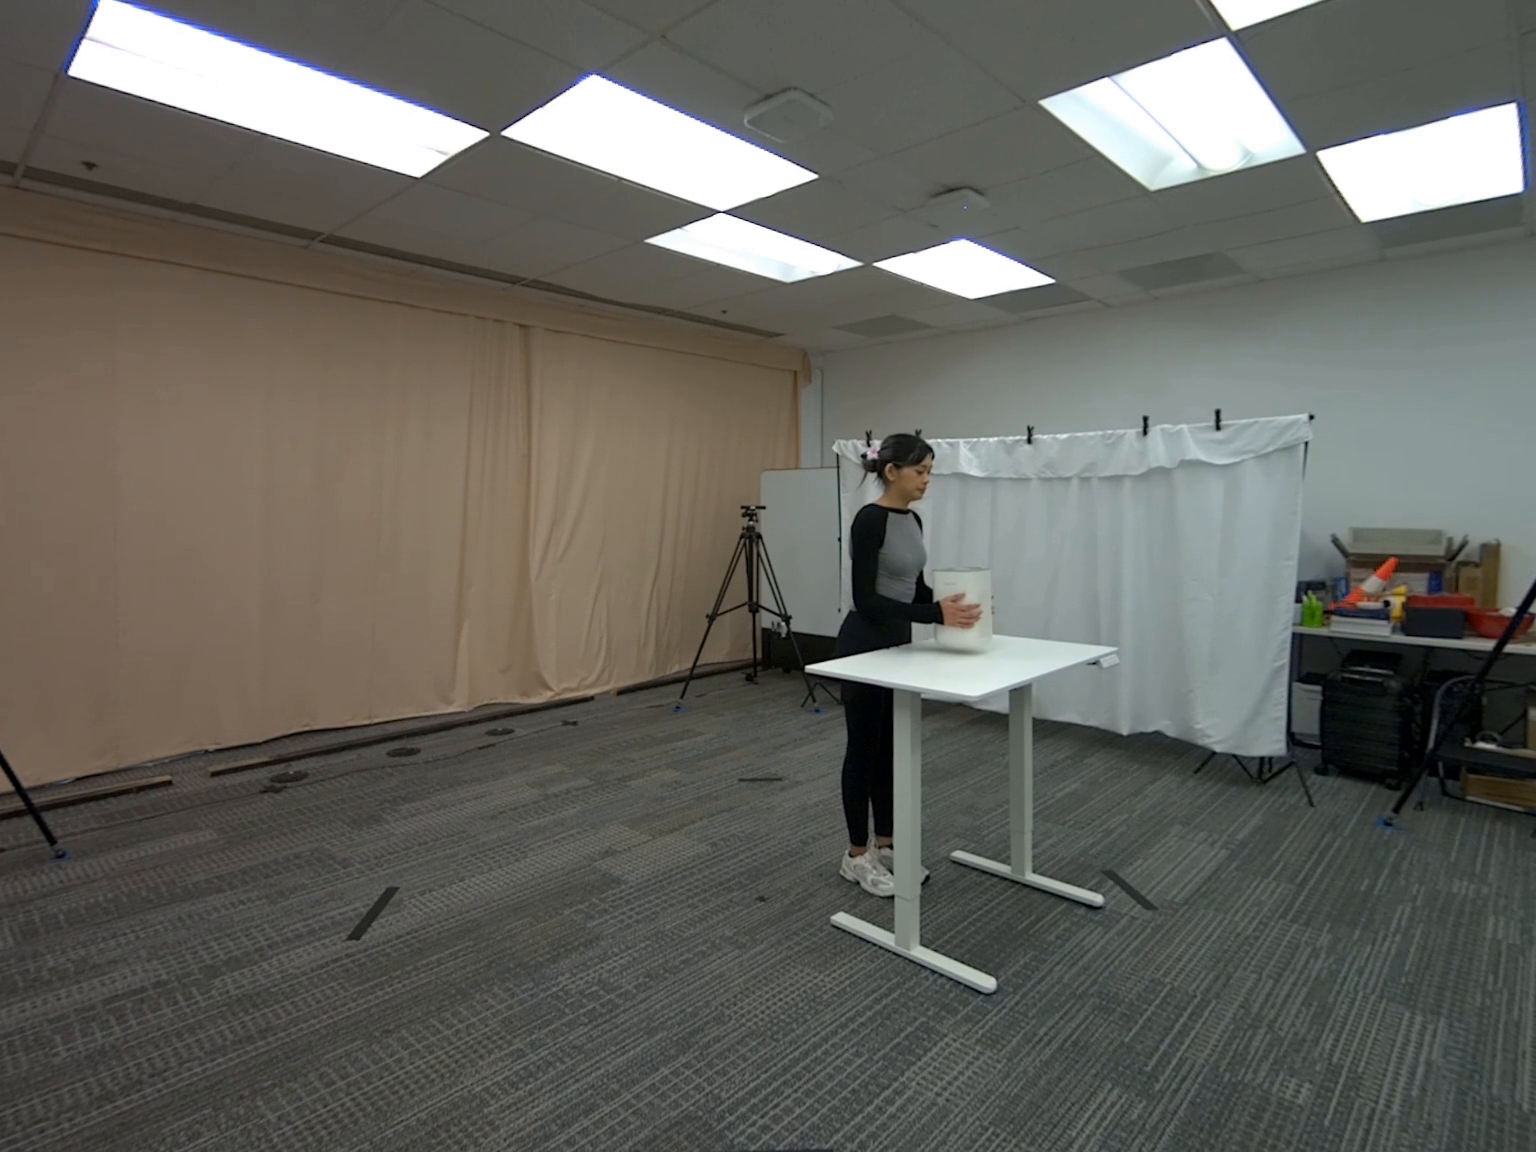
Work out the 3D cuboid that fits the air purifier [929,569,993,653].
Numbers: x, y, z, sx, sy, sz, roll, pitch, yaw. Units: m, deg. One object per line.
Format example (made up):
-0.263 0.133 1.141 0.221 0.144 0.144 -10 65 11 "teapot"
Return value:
0.677 0.111 2.913 0.176 0.265 0.166 1 4 40 "air purifier"
